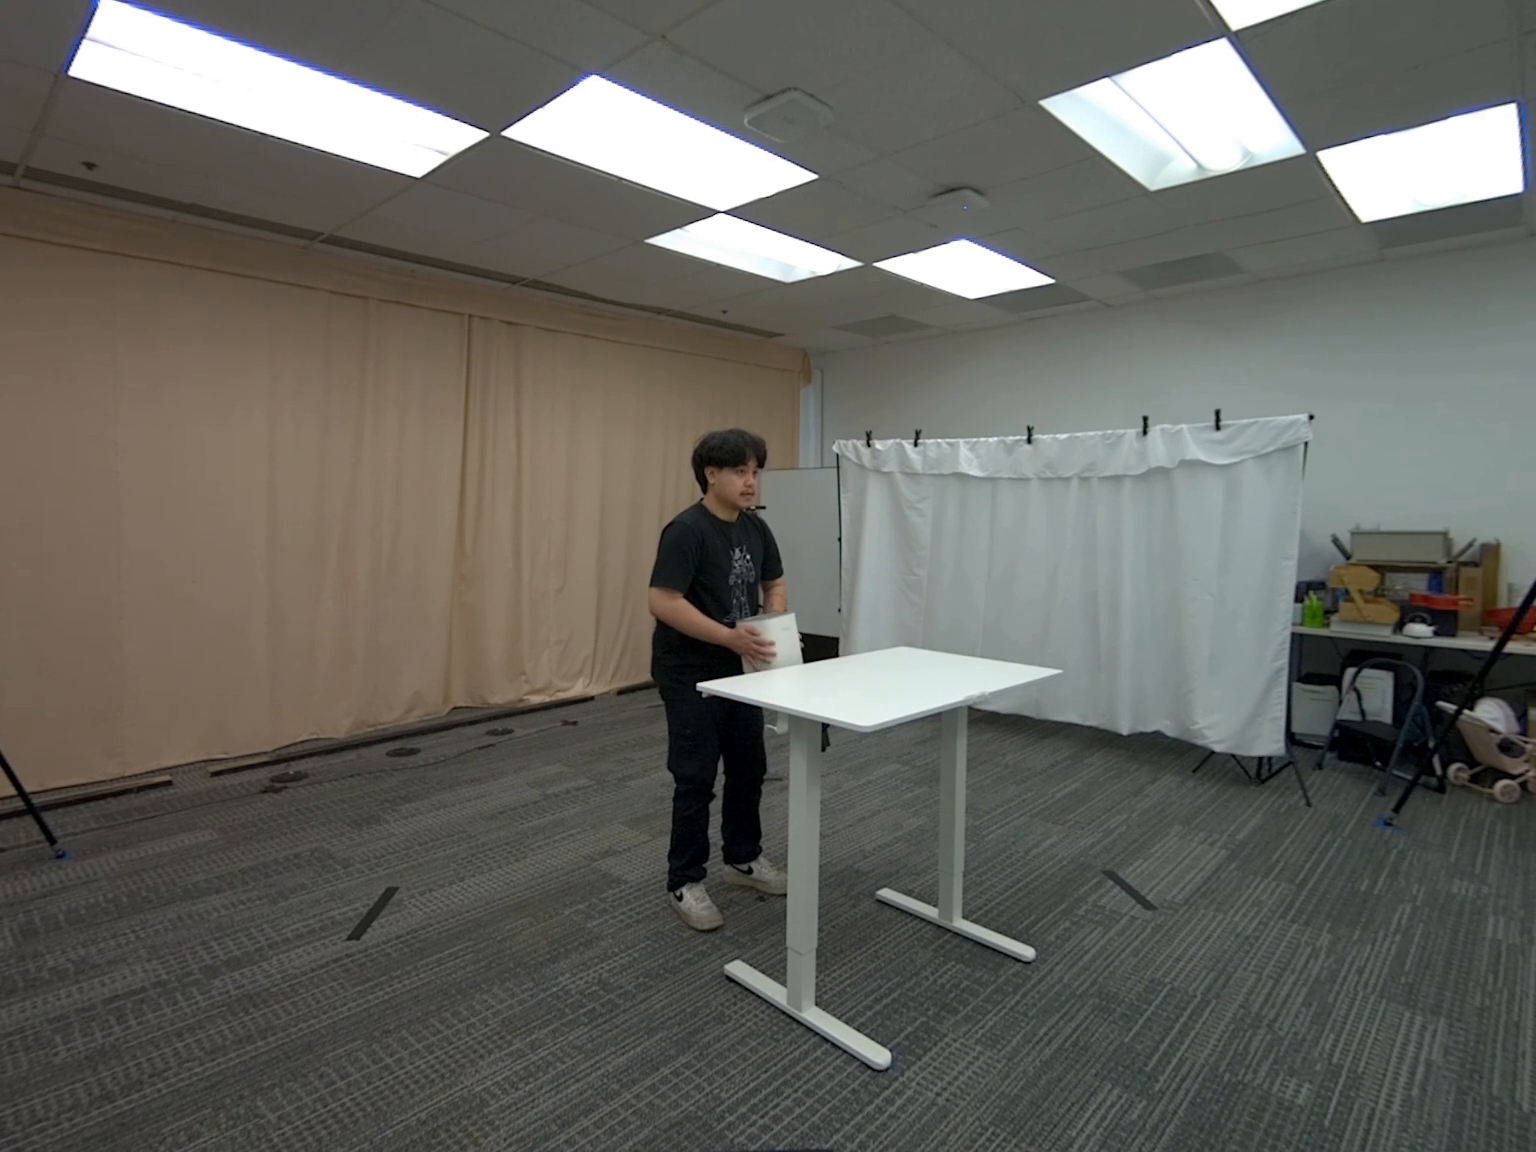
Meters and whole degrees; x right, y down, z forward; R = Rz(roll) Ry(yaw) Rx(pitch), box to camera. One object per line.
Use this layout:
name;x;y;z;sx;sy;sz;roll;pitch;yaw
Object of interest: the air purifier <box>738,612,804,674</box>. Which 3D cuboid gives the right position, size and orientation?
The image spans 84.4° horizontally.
air purifier;0.004;0.268;2.793;0.176;0.265;0.166;-10;0;42
